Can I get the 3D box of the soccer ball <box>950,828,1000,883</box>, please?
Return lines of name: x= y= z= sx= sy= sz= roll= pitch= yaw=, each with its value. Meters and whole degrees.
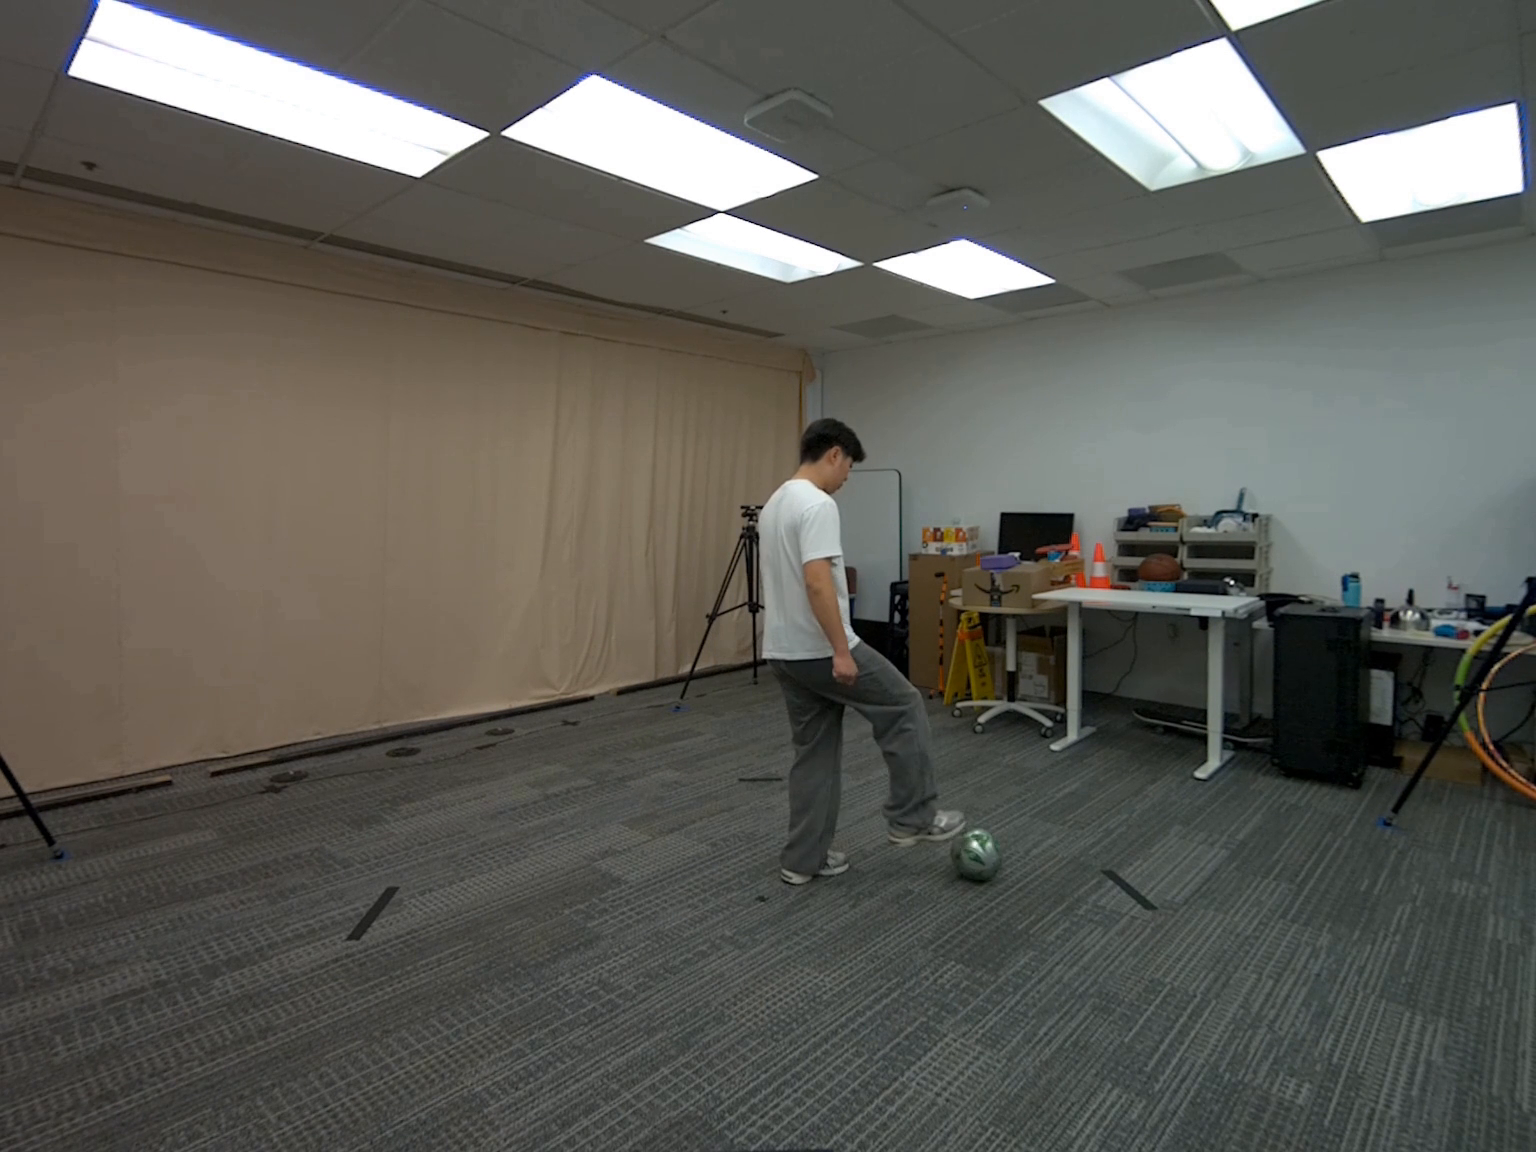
soccer ball: x=0.783 y=1.040 z=3.135 sx=0.187 sy=0.187 sz=0.188 roll=0 pitch=4 yaw=-2
